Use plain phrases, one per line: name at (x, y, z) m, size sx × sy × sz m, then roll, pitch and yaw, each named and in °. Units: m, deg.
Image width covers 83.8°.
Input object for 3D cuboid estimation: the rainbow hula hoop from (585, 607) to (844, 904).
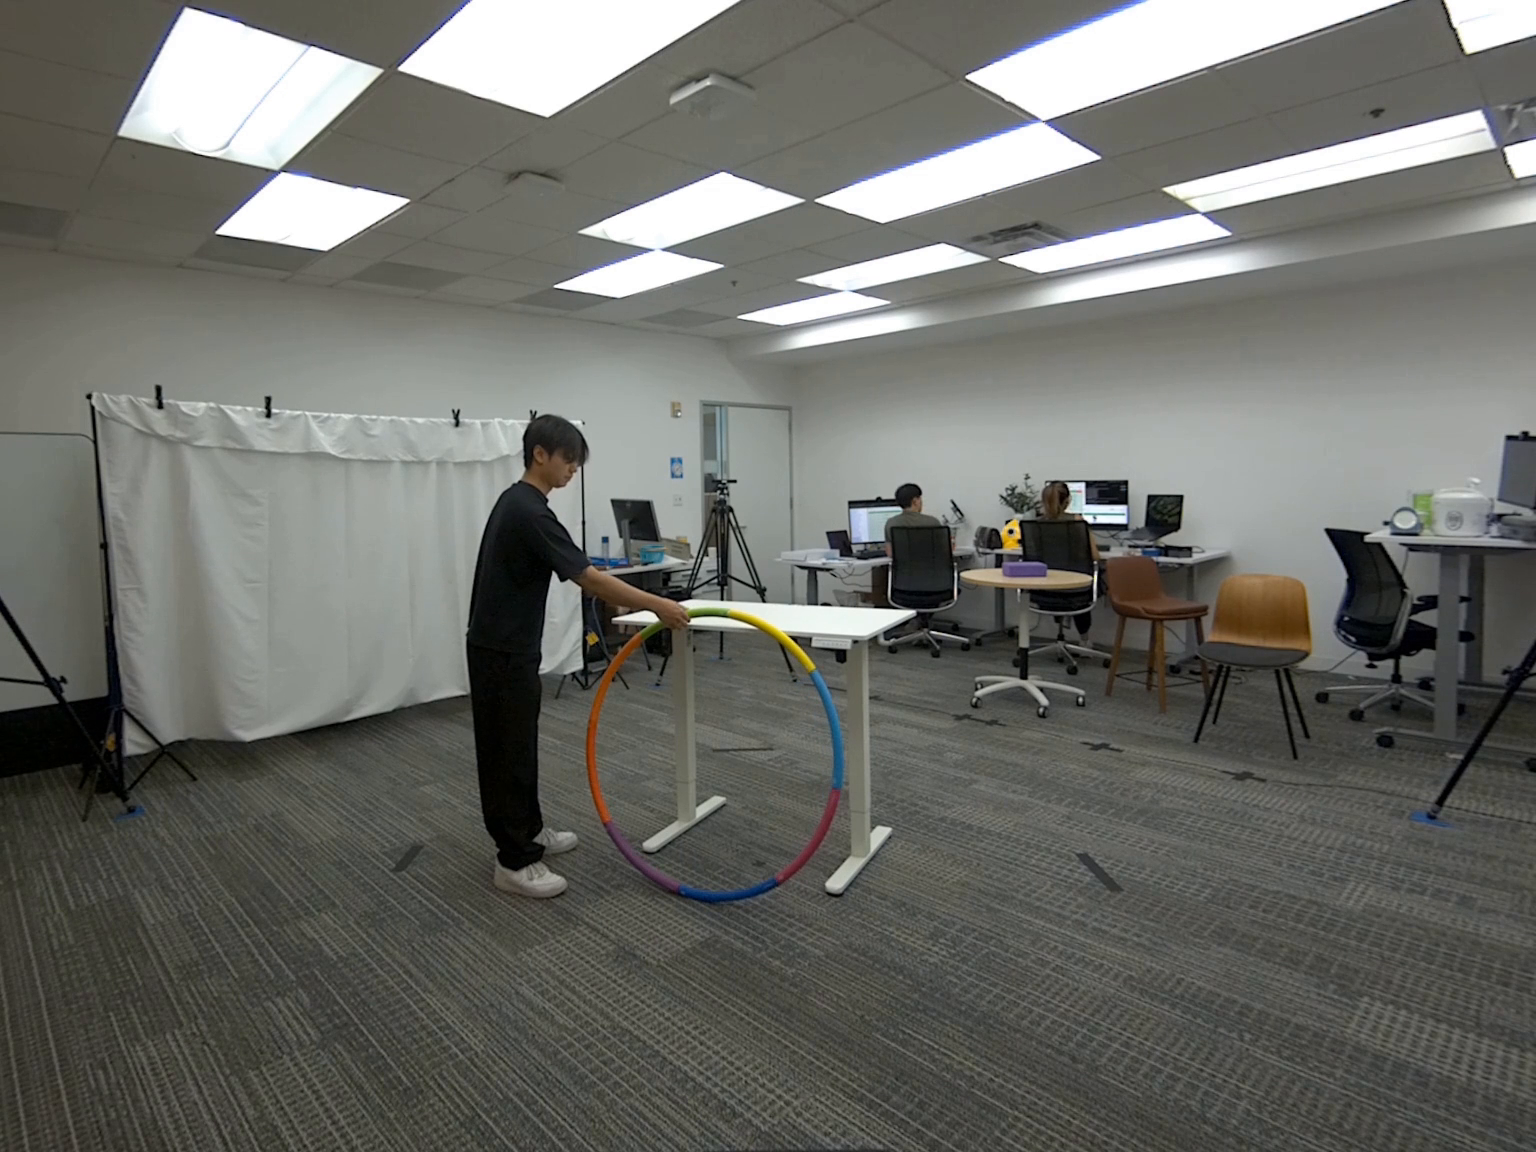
rainbow hula hoop at (-0.211, 0.598, 2.920) m, size 1.003 × 0.984 × 0.034 m, roll 1°, pitch -8°, yaw 28°
